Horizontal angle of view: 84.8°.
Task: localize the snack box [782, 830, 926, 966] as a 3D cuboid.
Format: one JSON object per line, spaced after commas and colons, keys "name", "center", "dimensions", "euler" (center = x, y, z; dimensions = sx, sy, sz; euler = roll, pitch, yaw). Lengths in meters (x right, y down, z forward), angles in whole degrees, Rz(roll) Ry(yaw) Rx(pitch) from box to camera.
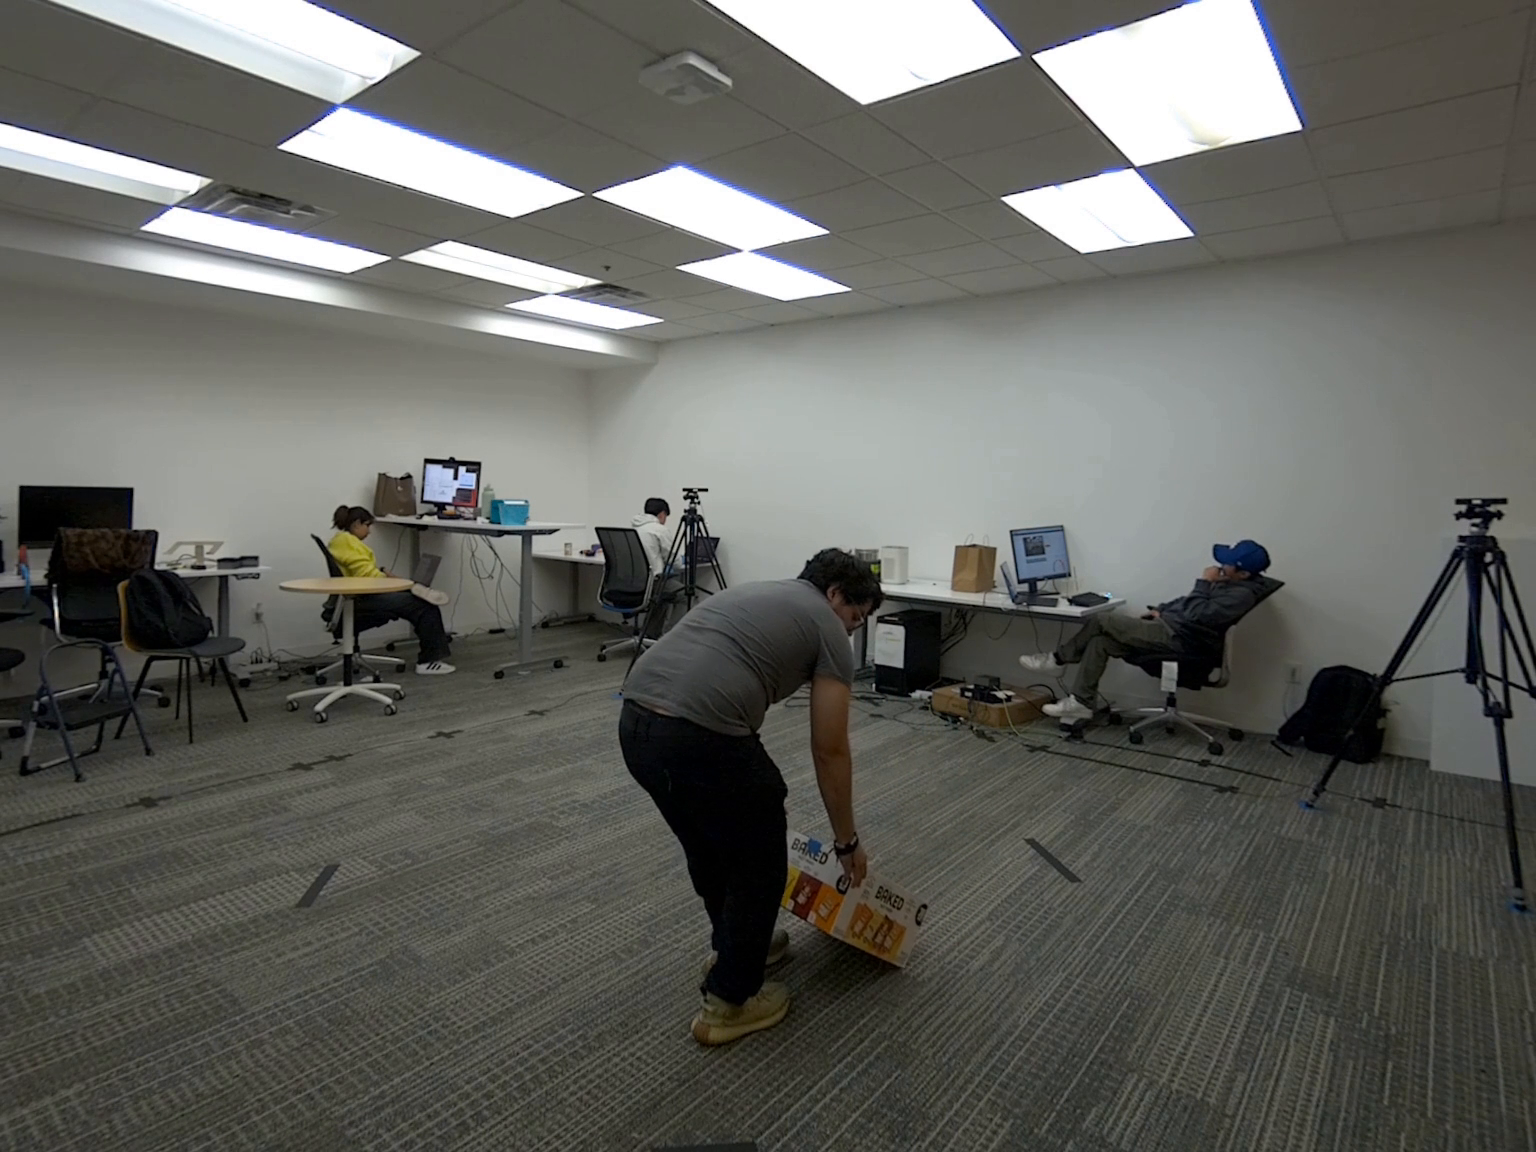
{"name": "snack box", "center": [0.203, 0.943, 2.527], "dimensions": [0.352, 0.207, 0.389], "euler": [10, -24, 48]}
